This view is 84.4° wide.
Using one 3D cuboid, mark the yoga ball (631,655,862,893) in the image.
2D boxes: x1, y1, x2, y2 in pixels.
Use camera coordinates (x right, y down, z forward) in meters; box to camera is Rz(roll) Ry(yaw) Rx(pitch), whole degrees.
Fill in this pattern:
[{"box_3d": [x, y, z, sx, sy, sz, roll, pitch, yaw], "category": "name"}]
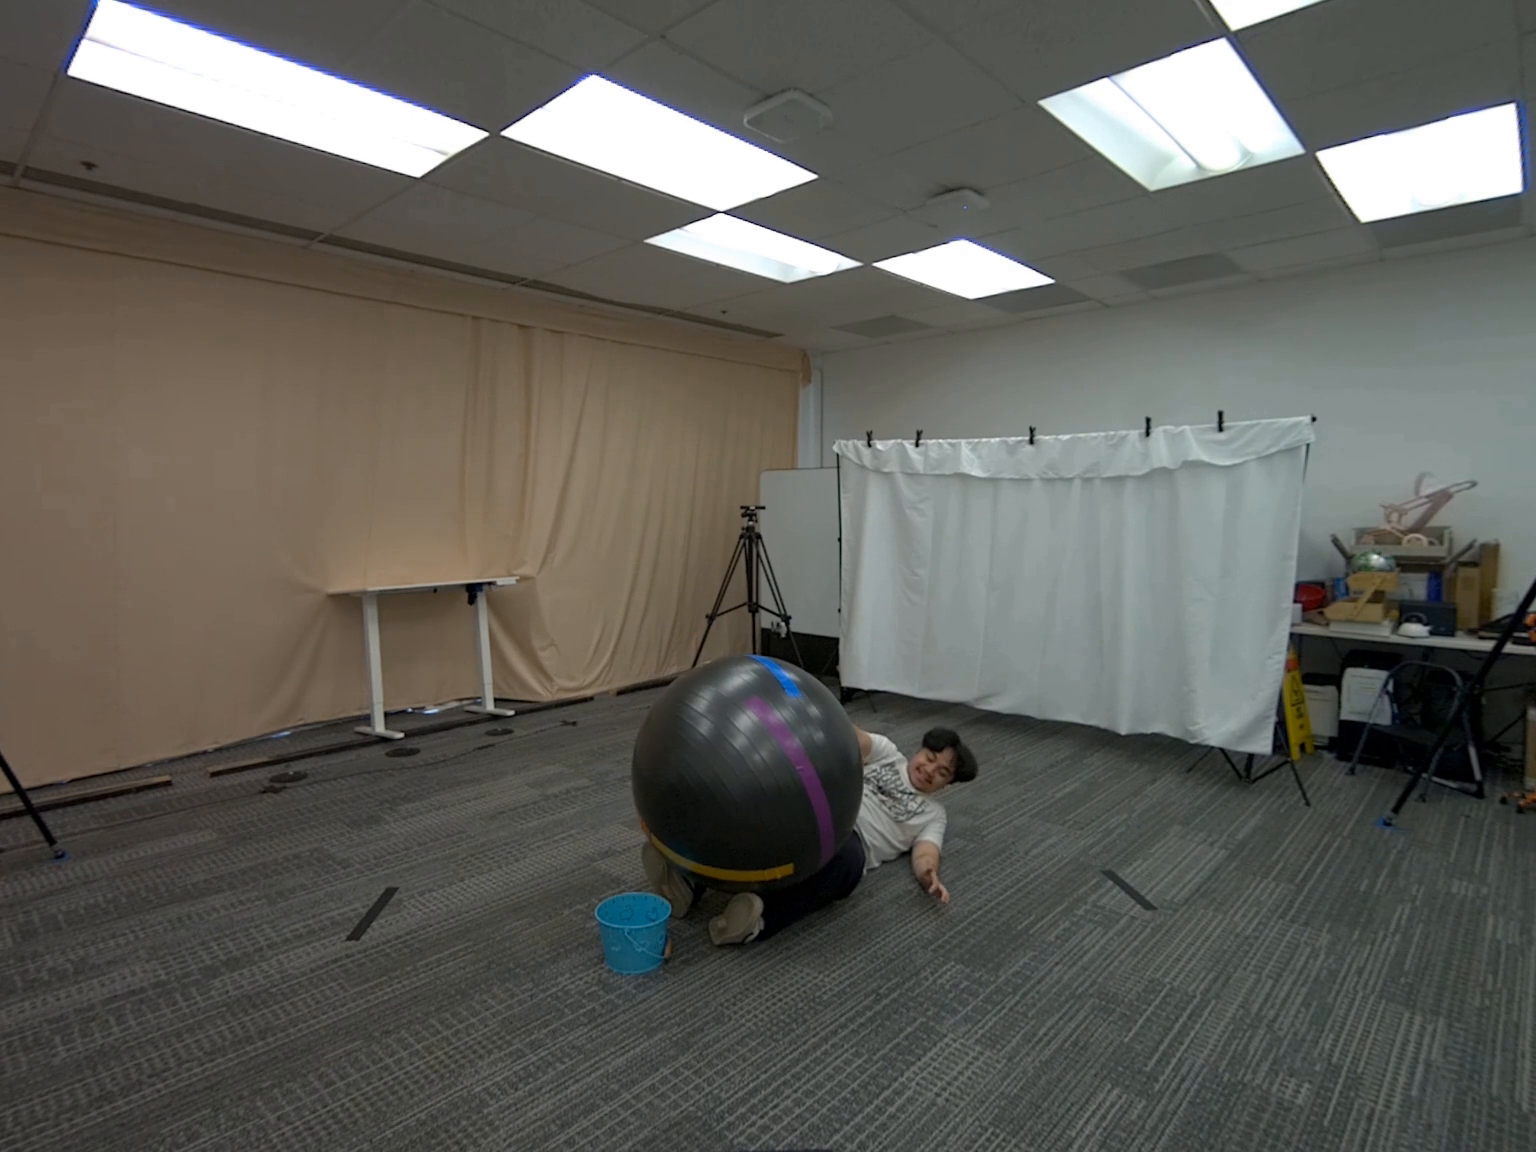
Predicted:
[{"box_3d": [-0.063, 0.637, 2.767, 0.757, 0.756, 0.760, 0, 4, -2], "category": "yoga ball"}]
